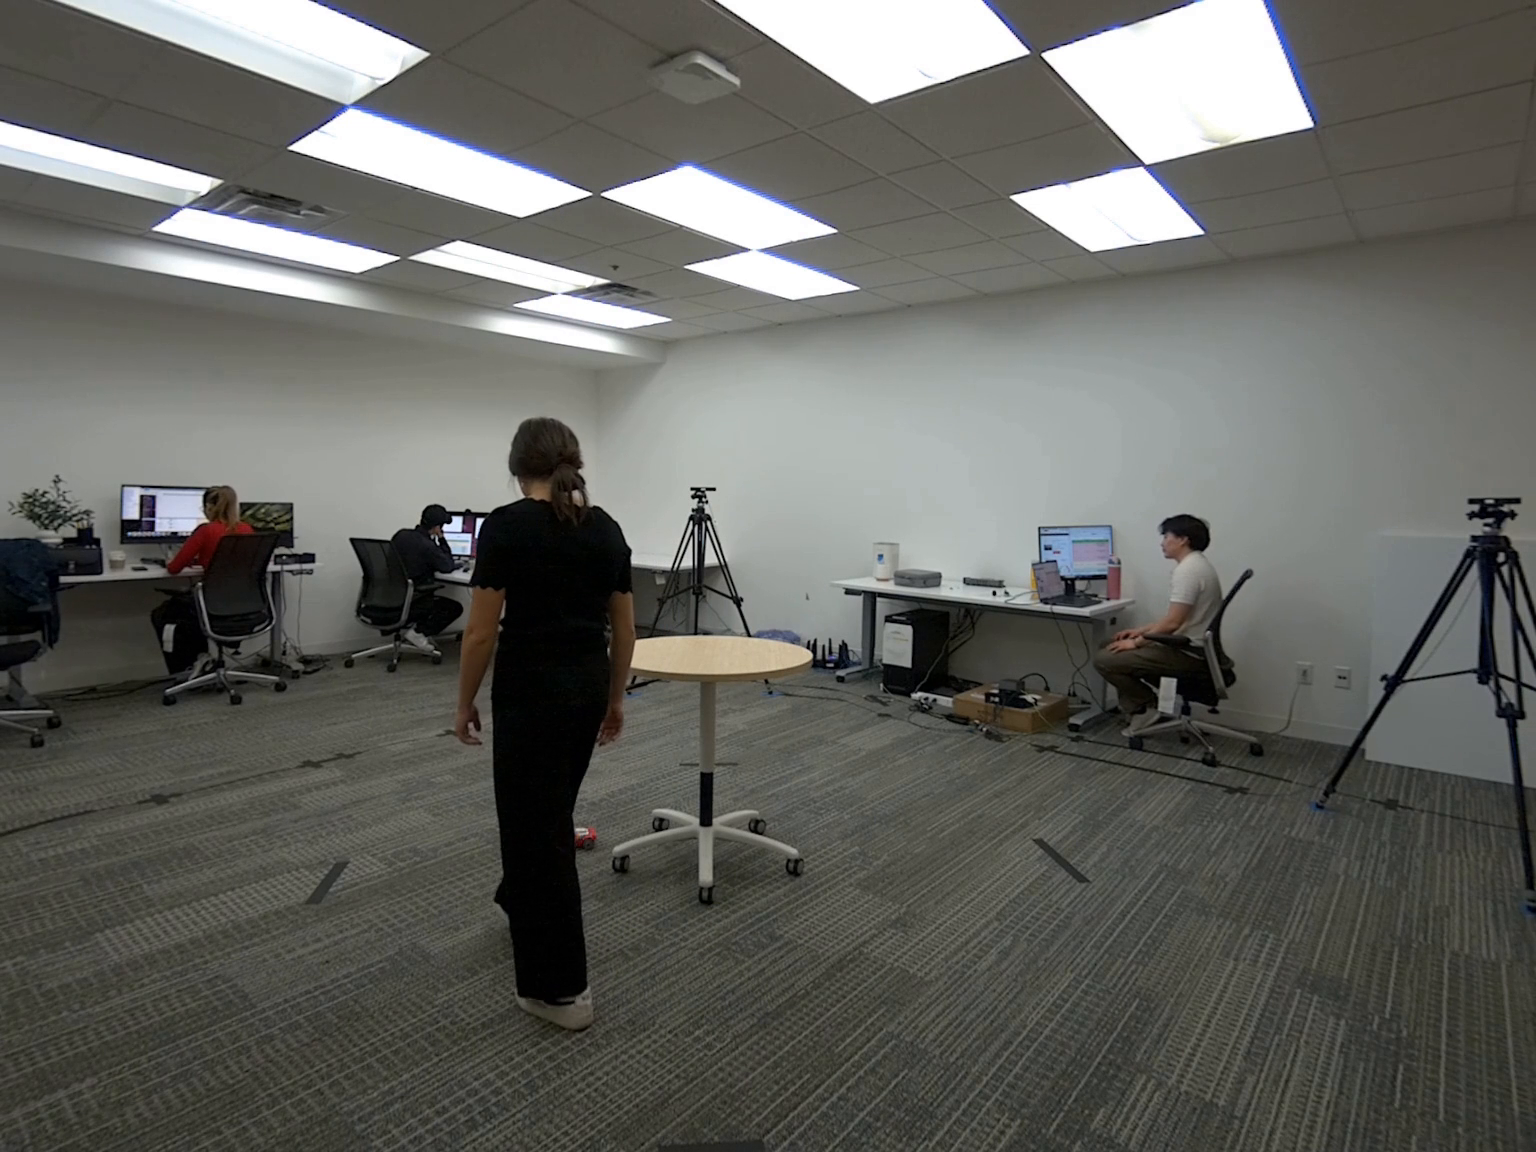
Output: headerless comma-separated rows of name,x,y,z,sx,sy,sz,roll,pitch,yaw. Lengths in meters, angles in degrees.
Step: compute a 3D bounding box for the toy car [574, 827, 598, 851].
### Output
toy car,-0.801,1.004,3.275,0.250,0.083,0.132,11,1,-14
